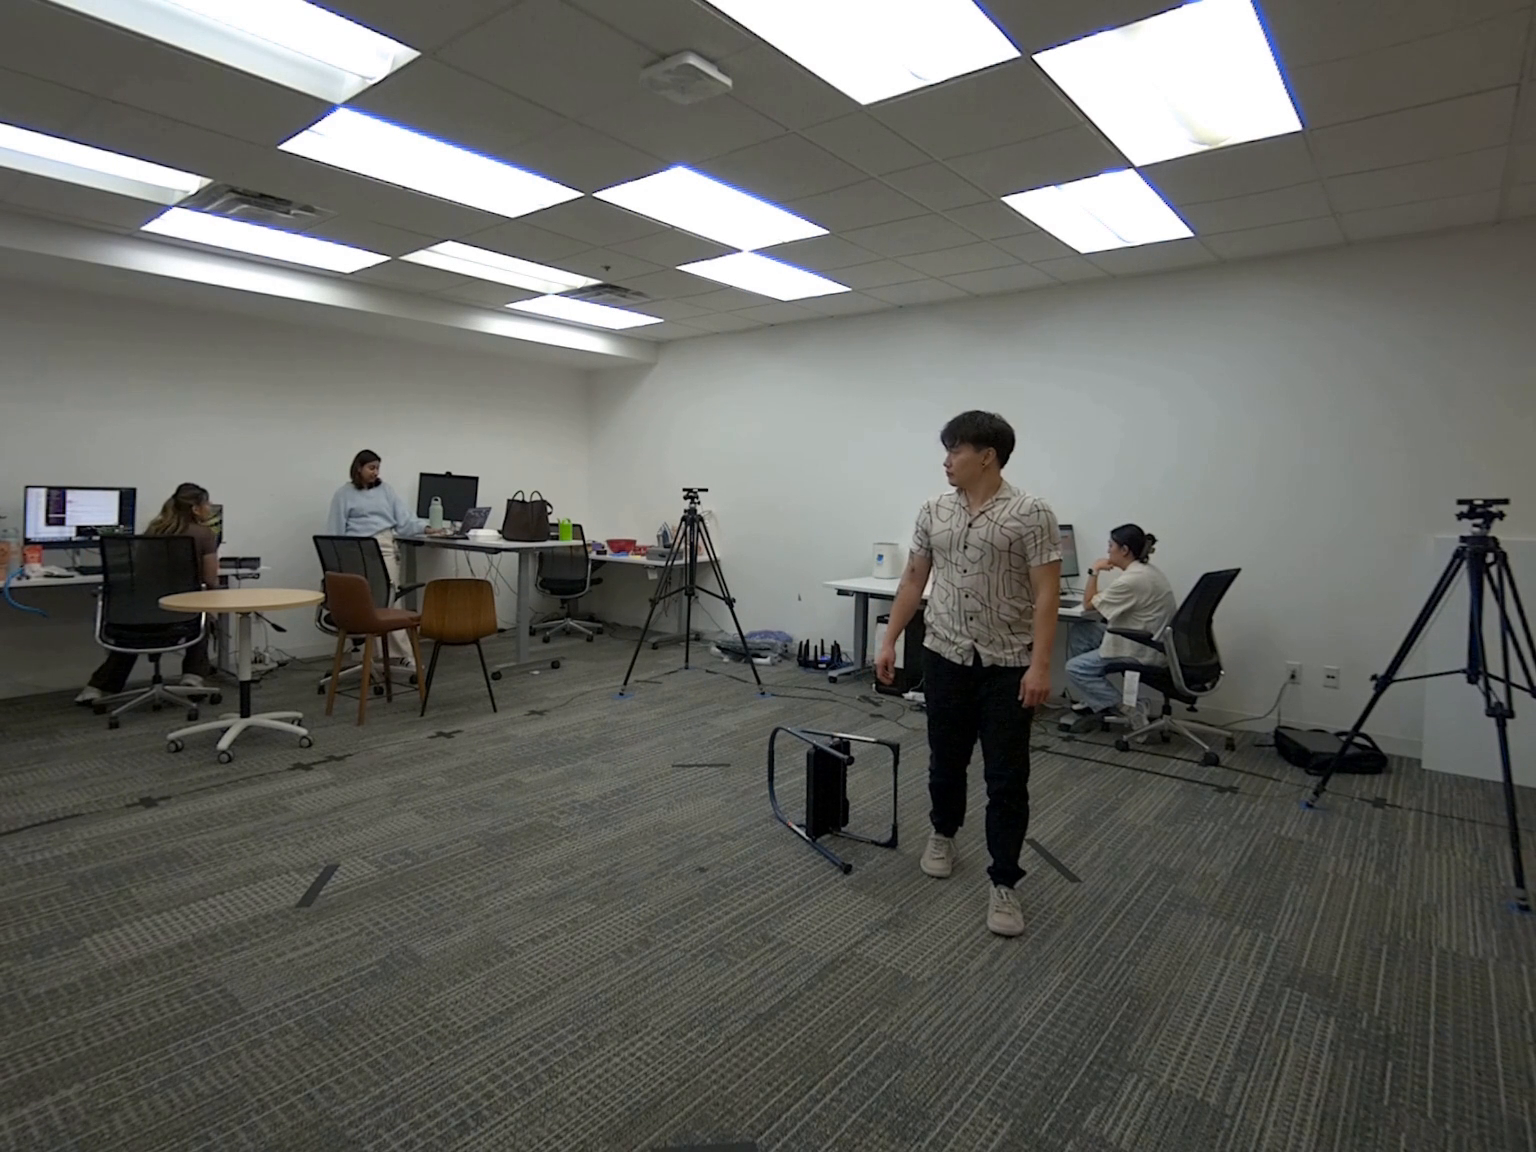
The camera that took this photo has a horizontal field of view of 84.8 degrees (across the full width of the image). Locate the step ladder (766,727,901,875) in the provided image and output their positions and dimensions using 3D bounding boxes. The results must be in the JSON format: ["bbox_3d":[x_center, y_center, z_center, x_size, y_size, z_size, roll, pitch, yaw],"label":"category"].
[{"bbox_3d":[0.170,0.837,3.422,0.627,0.430,0.338,6,4,44],"label":"step ladder"}]
